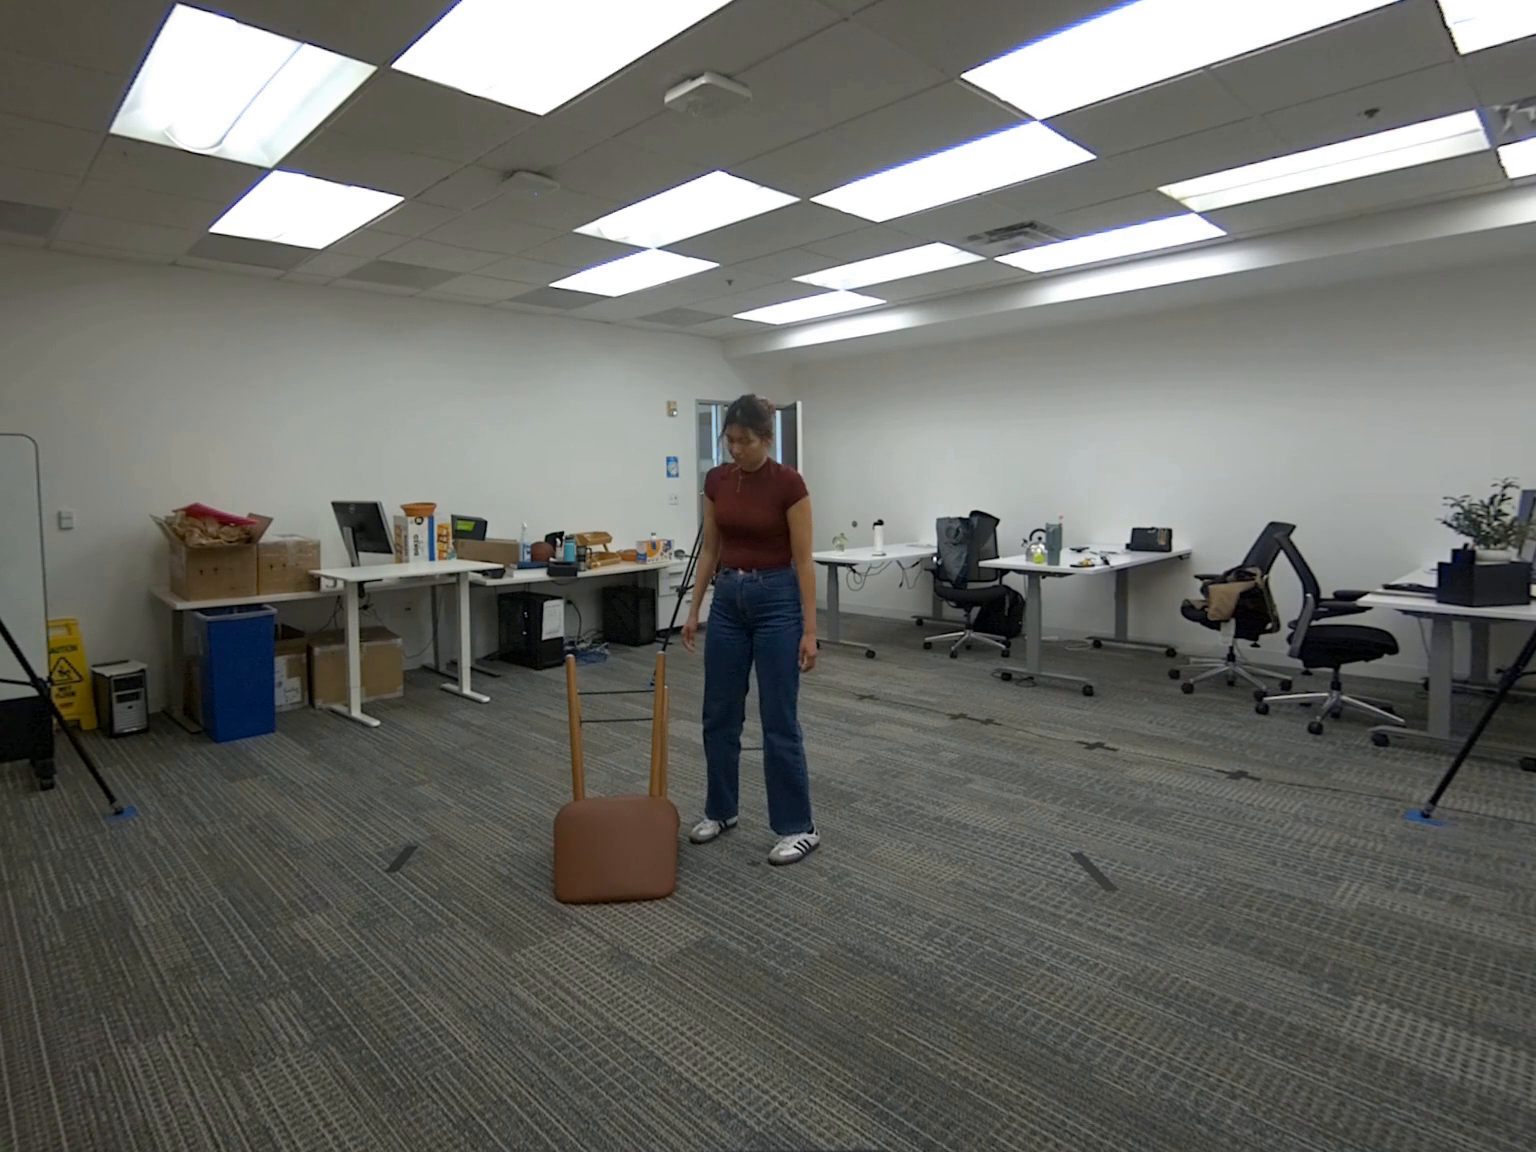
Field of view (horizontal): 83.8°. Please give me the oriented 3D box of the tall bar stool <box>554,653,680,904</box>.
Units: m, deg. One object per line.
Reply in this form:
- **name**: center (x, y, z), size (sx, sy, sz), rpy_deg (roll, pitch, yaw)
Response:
- **tall bar stool**: center (-0.566, 0.785, 3.239), size (0.454, 0.913, 0.458), rpy_deg (-2, -30, -7)
